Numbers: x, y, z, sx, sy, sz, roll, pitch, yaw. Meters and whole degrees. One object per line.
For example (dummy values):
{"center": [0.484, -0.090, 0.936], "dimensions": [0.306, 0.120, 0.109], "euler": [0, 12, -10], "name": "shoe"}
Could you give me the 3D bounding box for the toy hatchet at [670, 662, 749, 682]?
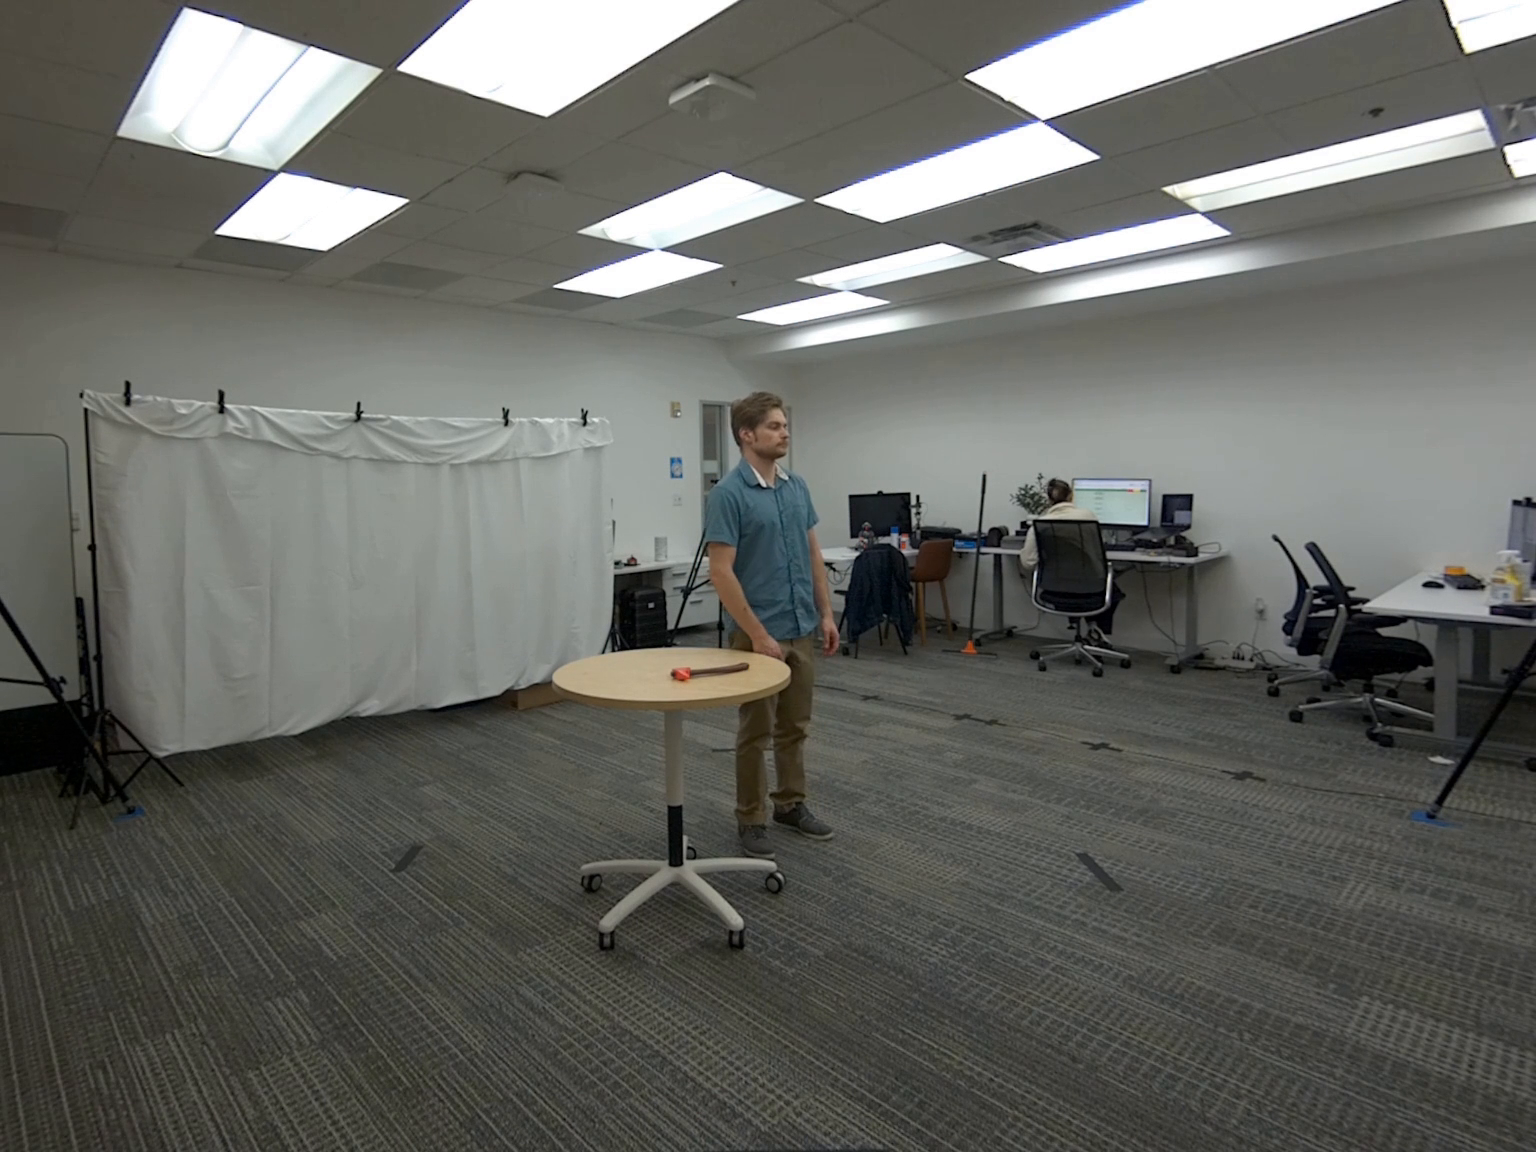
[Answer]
{"center": [-0.199, 0.305, 2.722], "dimensions": [0.262, 0.029, 0.135], "euler": [-3, 2, -42], "name": "toy hatchet"}
